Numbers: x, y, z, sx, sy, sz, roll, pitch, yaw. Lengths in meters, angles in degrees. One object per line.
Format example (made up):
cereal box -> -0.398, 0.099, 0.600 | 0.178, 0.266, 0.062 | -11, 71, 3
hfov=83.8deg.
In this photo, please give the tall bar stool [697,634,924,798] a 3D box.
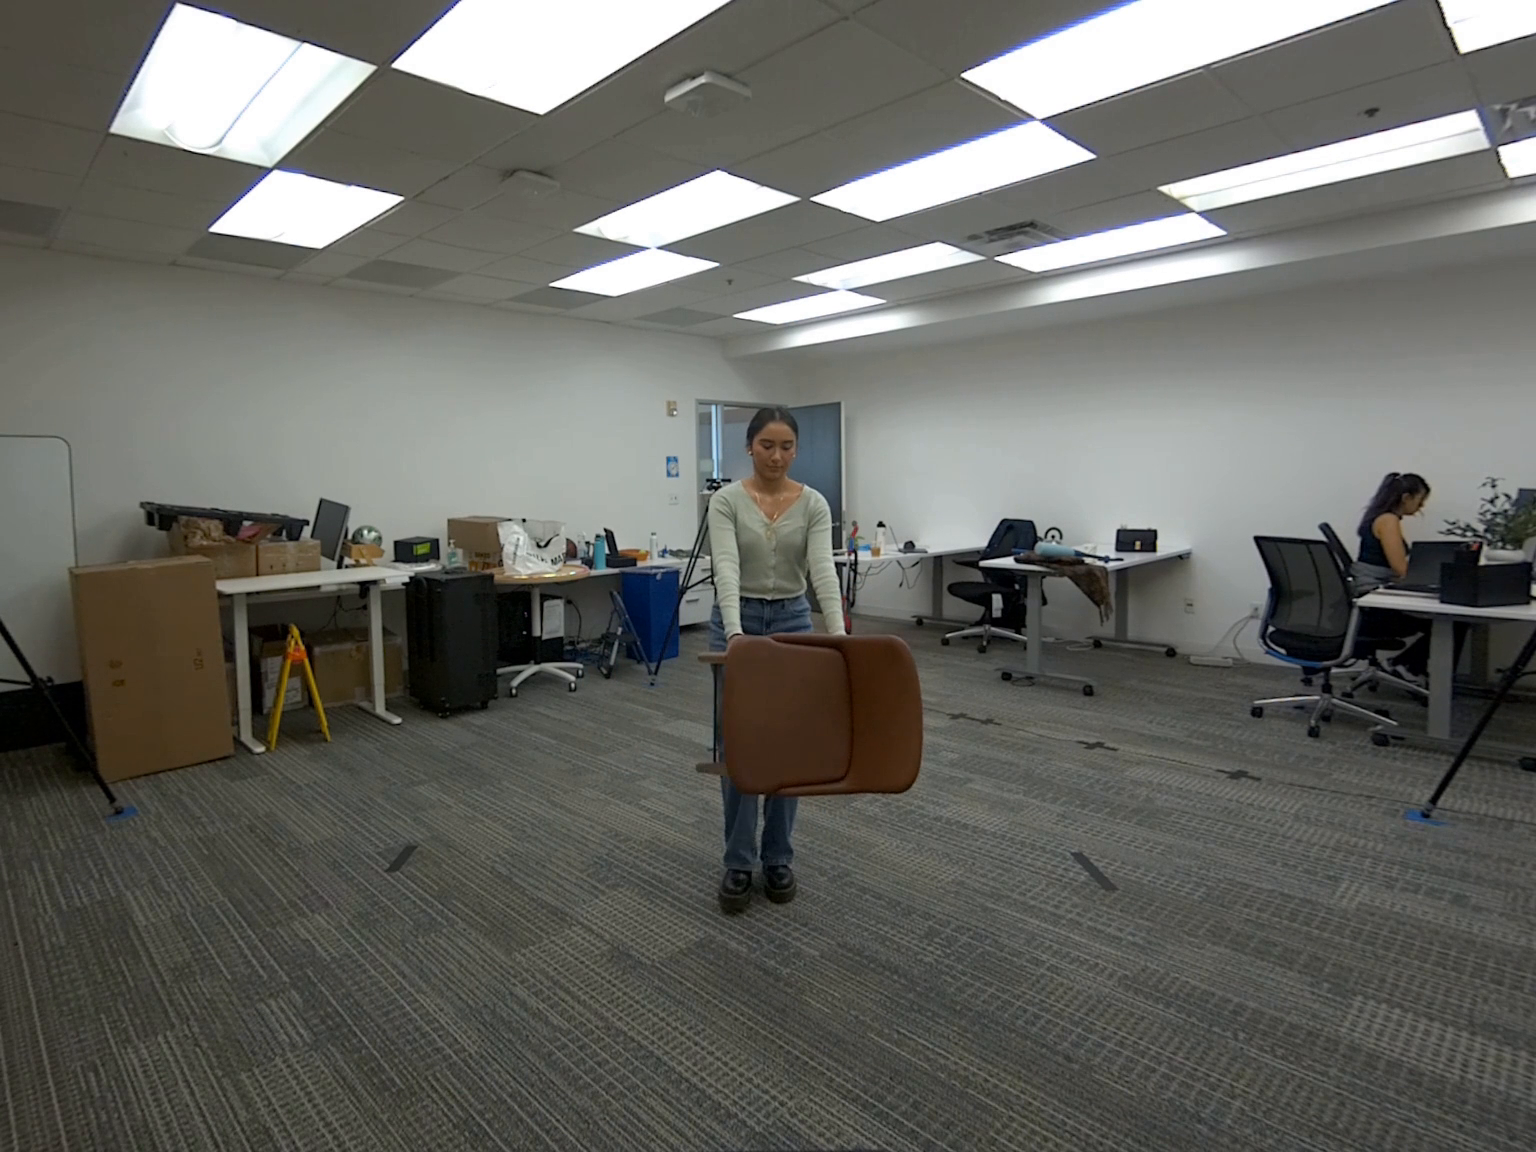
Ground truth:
tall bar stool -> 0.070, 0.426, 2.600 | 0.463, 0.461, 0.891 | 2, -10, -12
